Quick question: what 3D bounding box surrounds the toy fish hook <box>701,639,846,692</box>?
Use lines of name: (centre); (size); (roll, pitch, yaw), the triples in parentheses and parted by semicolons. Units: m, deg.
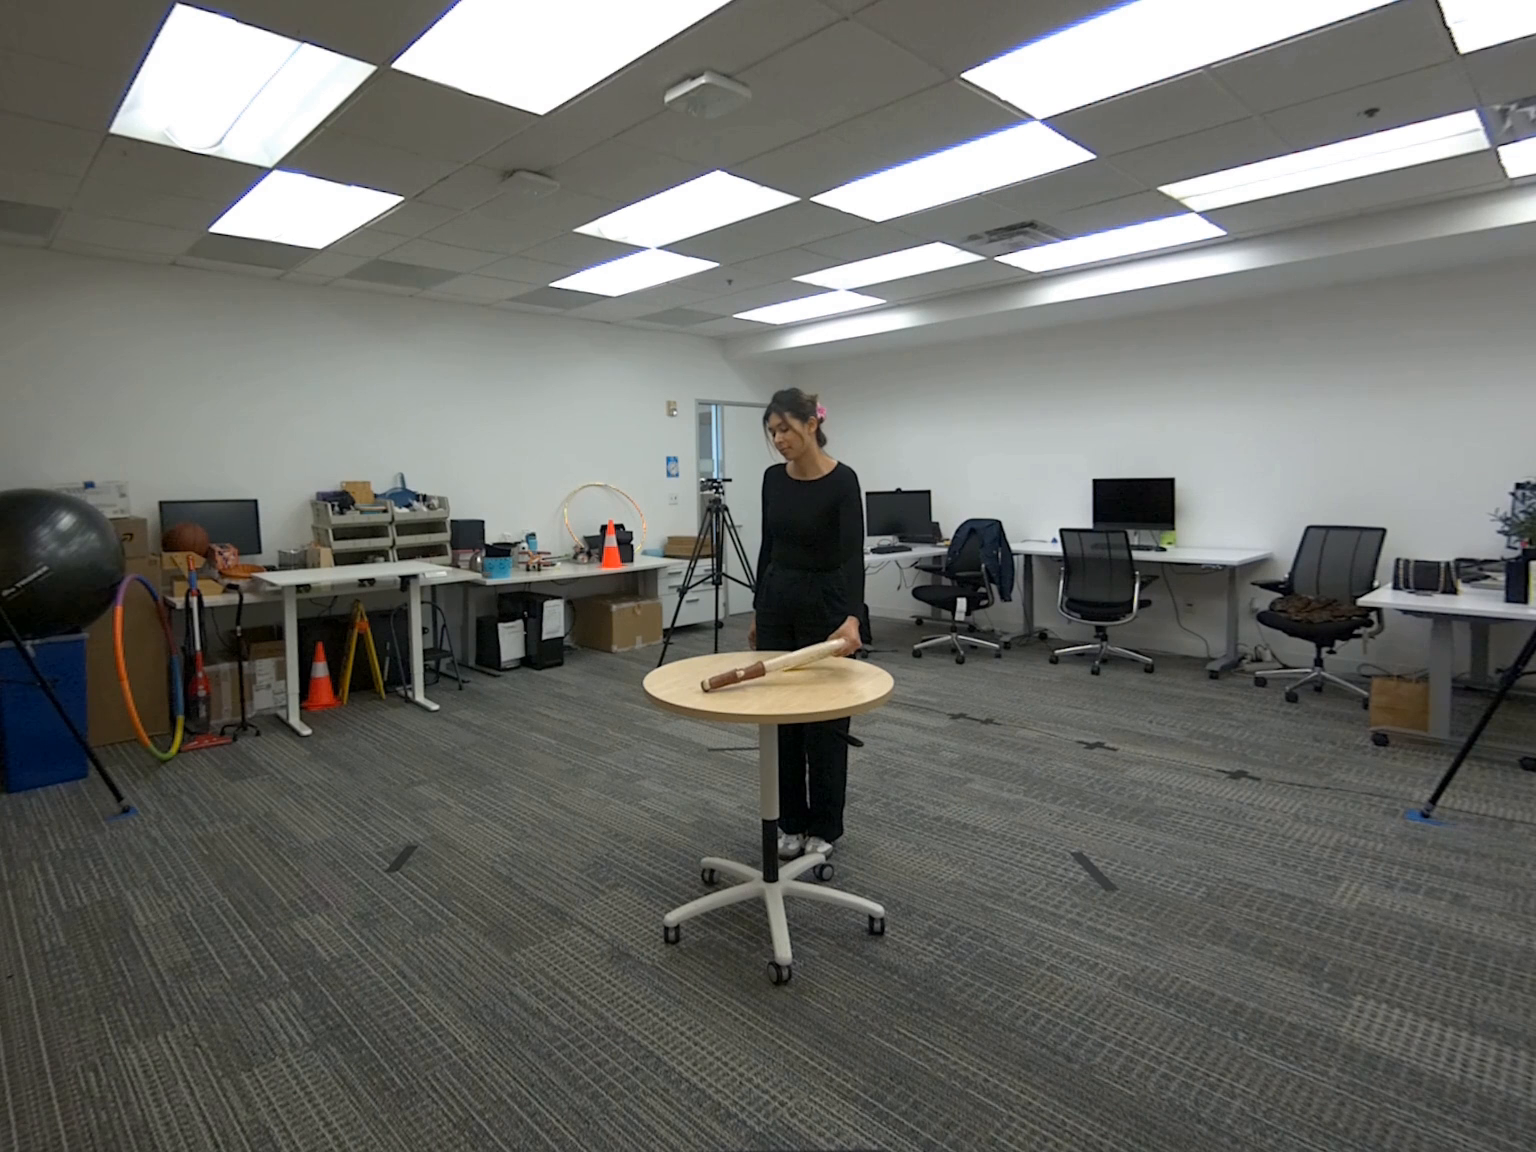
toy fish hook: (0.017, 0.287, 2.601); (0.500, 0.049, 0.224); (-12, -13, -17)
